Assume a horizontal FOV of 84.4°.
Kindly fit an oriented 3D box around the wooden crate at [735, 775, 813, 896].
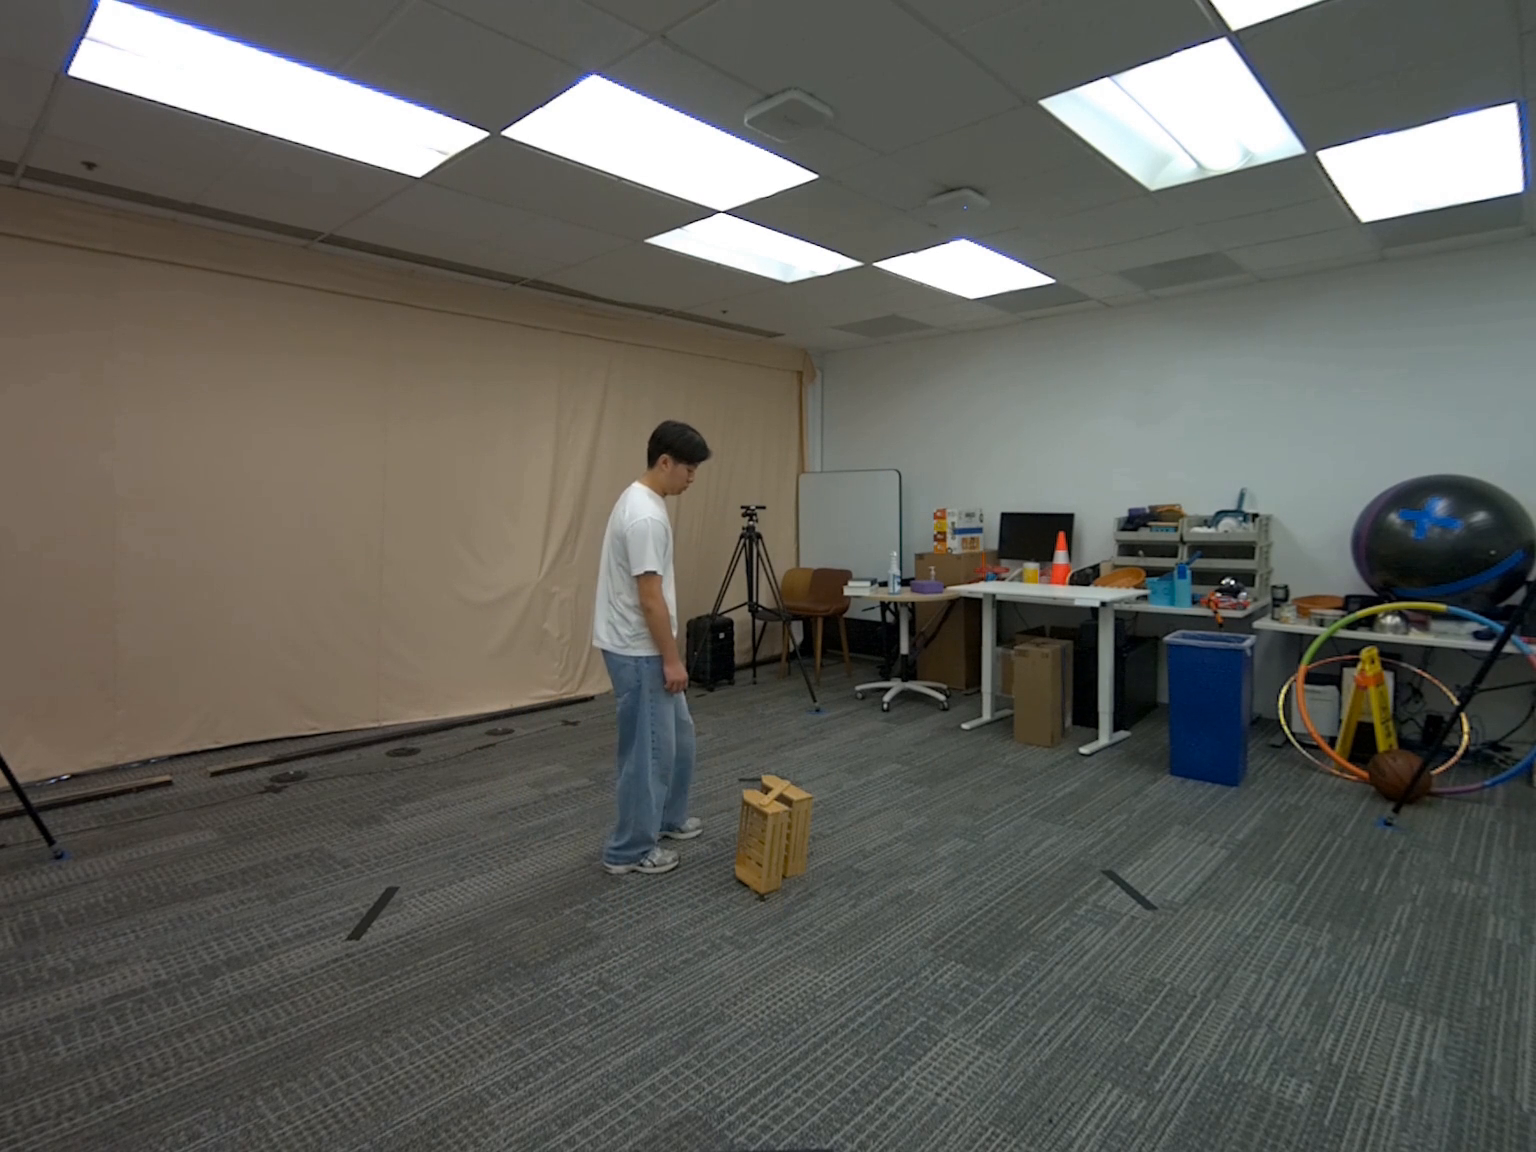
[{"bbox_3d":[0.001,0.965,3.170,0.265,0.323,0.312,3,6,-36],"label":"wooden crate"}]
